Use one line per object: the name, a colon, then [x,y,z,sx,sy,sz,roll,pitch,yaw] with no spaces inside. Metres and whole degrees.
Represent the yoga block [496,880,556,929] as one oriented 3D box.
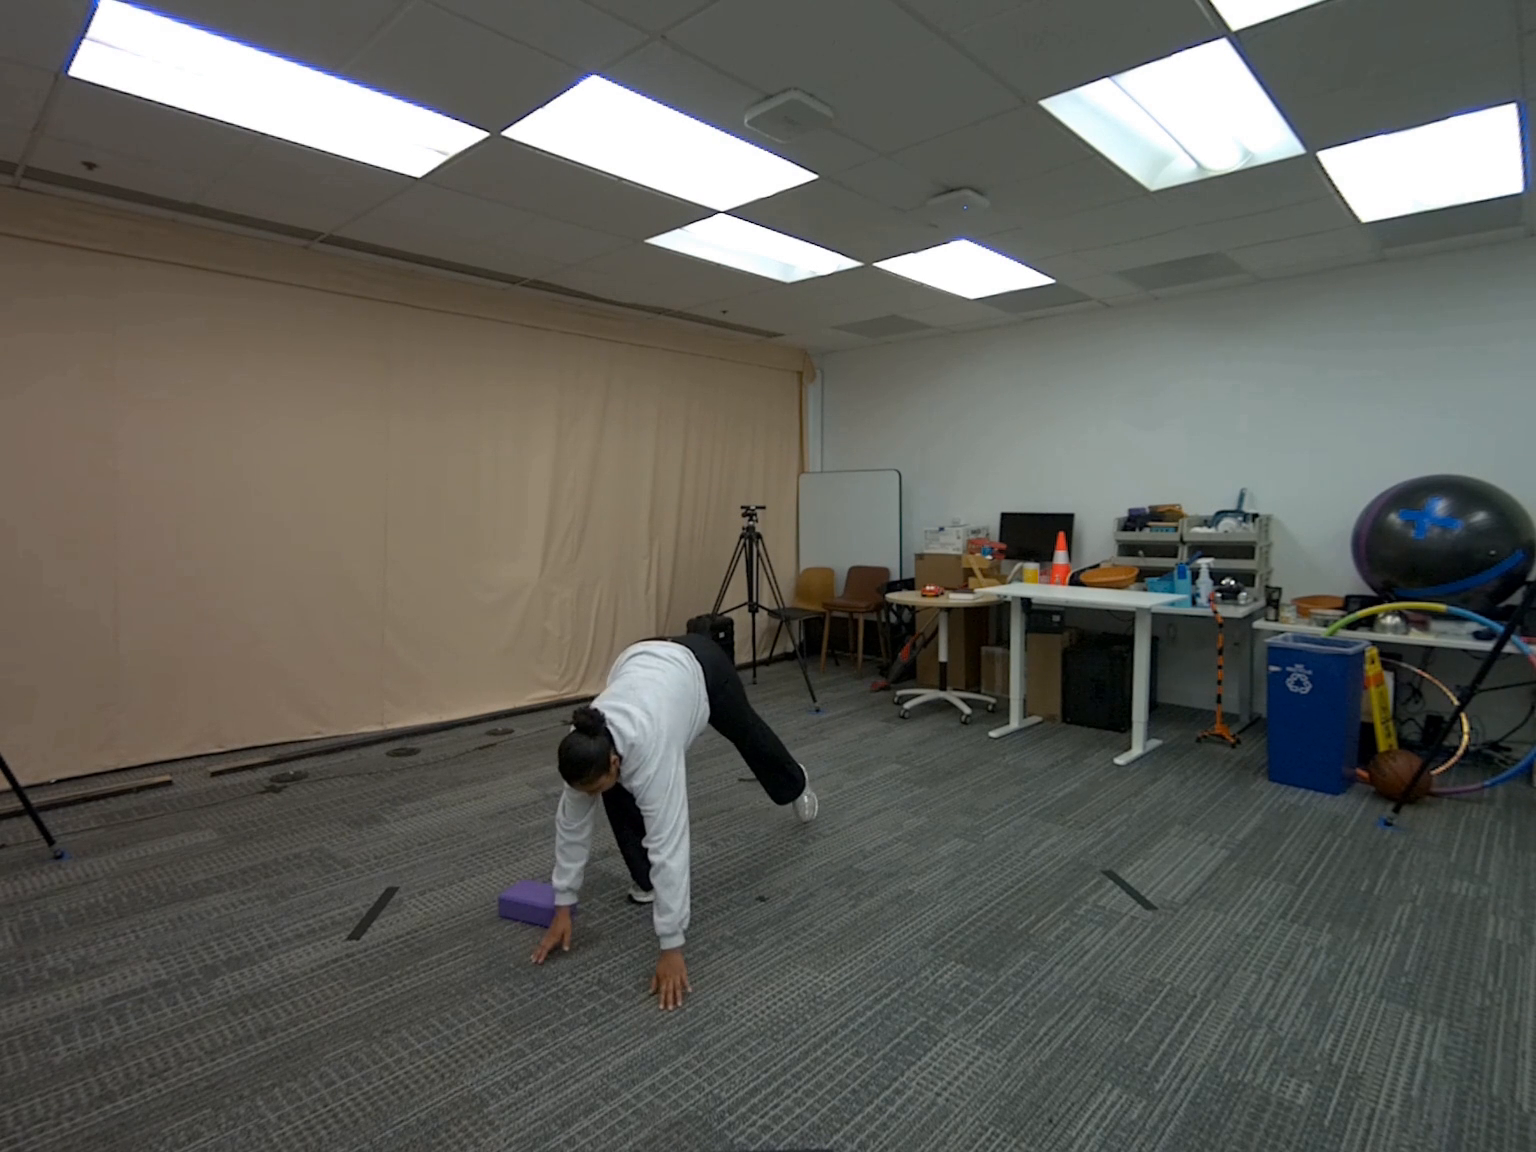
yoga block: [-0.791,1.119,2.876,0.235,0.076,0.146,2,6,23]
